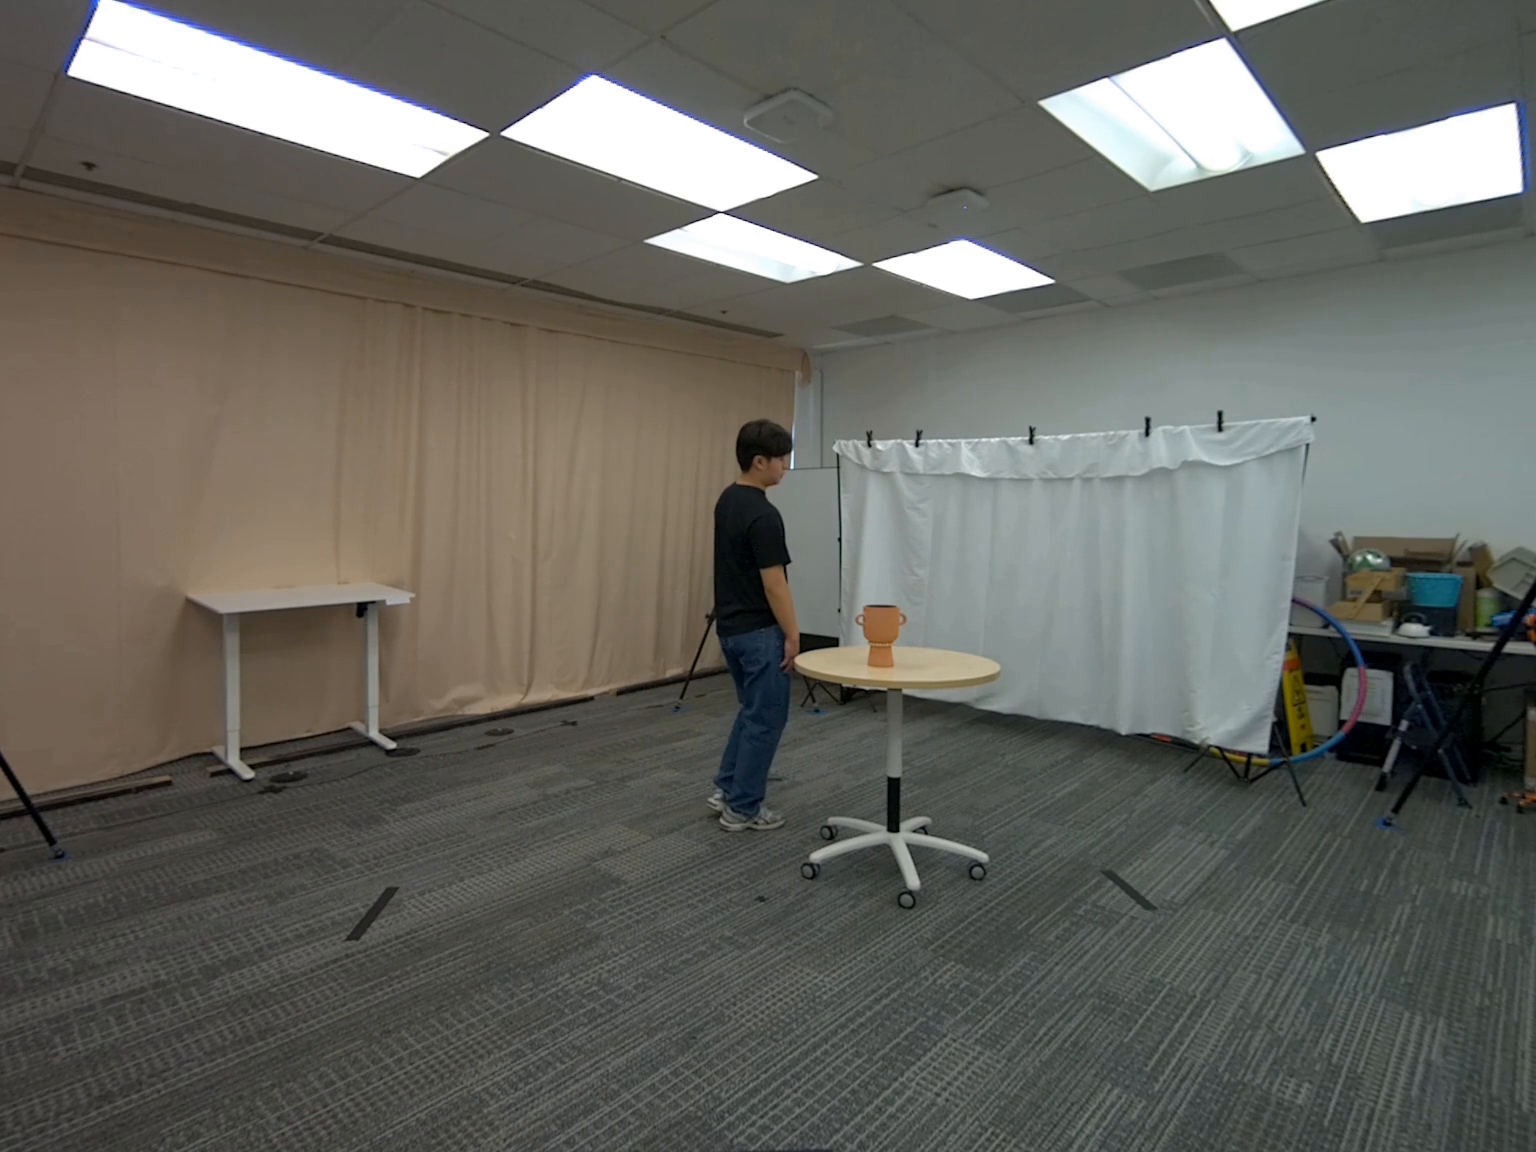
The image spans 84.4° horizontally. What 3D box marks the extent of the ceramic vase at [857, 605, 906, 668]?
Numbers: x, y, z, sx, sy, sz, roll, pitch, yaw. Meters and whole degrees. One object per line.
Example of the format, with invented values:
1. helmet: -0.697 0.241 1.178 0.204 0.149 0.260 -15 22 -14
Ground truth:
1. ceramic vase: 0.429 0.224 3.134 0.163 0.219 0.131 1 3 28
